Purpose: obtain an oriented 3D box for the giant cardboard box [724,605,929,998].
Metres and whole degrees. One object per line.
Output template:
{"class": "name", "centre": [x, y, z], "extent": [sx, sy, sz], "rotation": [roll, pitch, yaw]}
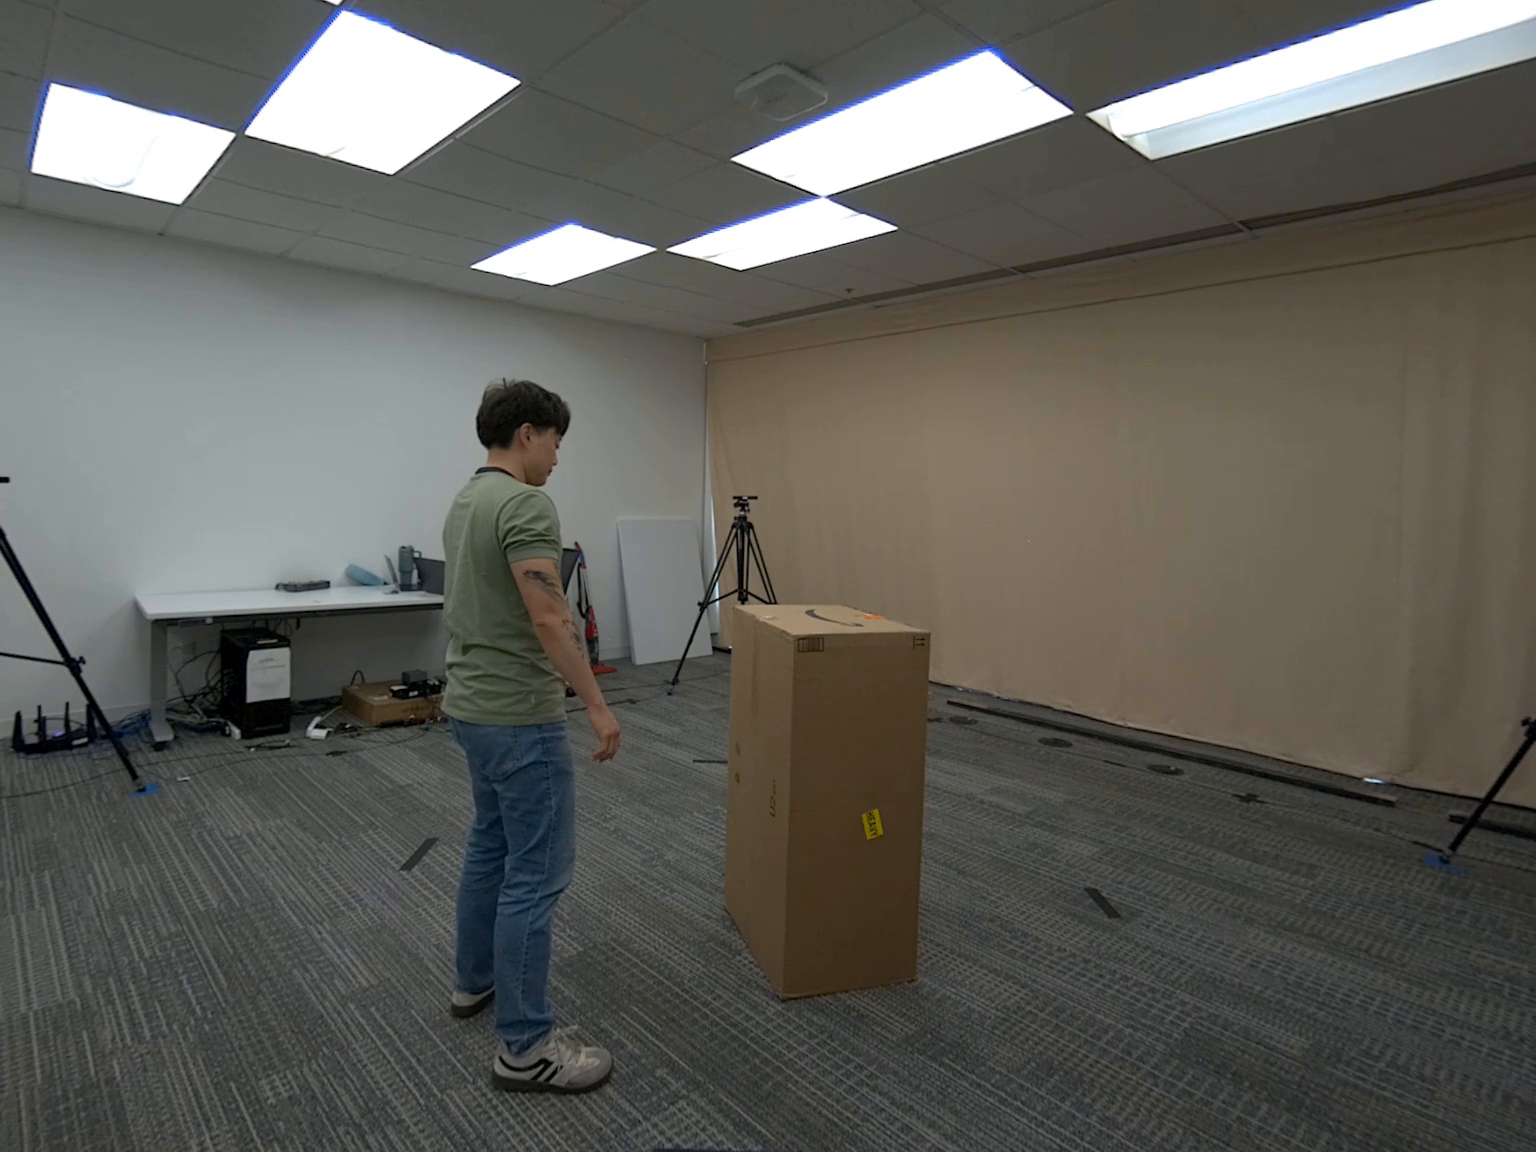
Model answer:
{"class": "giant cardboard box", "centre": [0.153, 0.640, 2.635], "extent": [0.420, 1.023, 0.587], "rotation": [0, 4, -19]}
